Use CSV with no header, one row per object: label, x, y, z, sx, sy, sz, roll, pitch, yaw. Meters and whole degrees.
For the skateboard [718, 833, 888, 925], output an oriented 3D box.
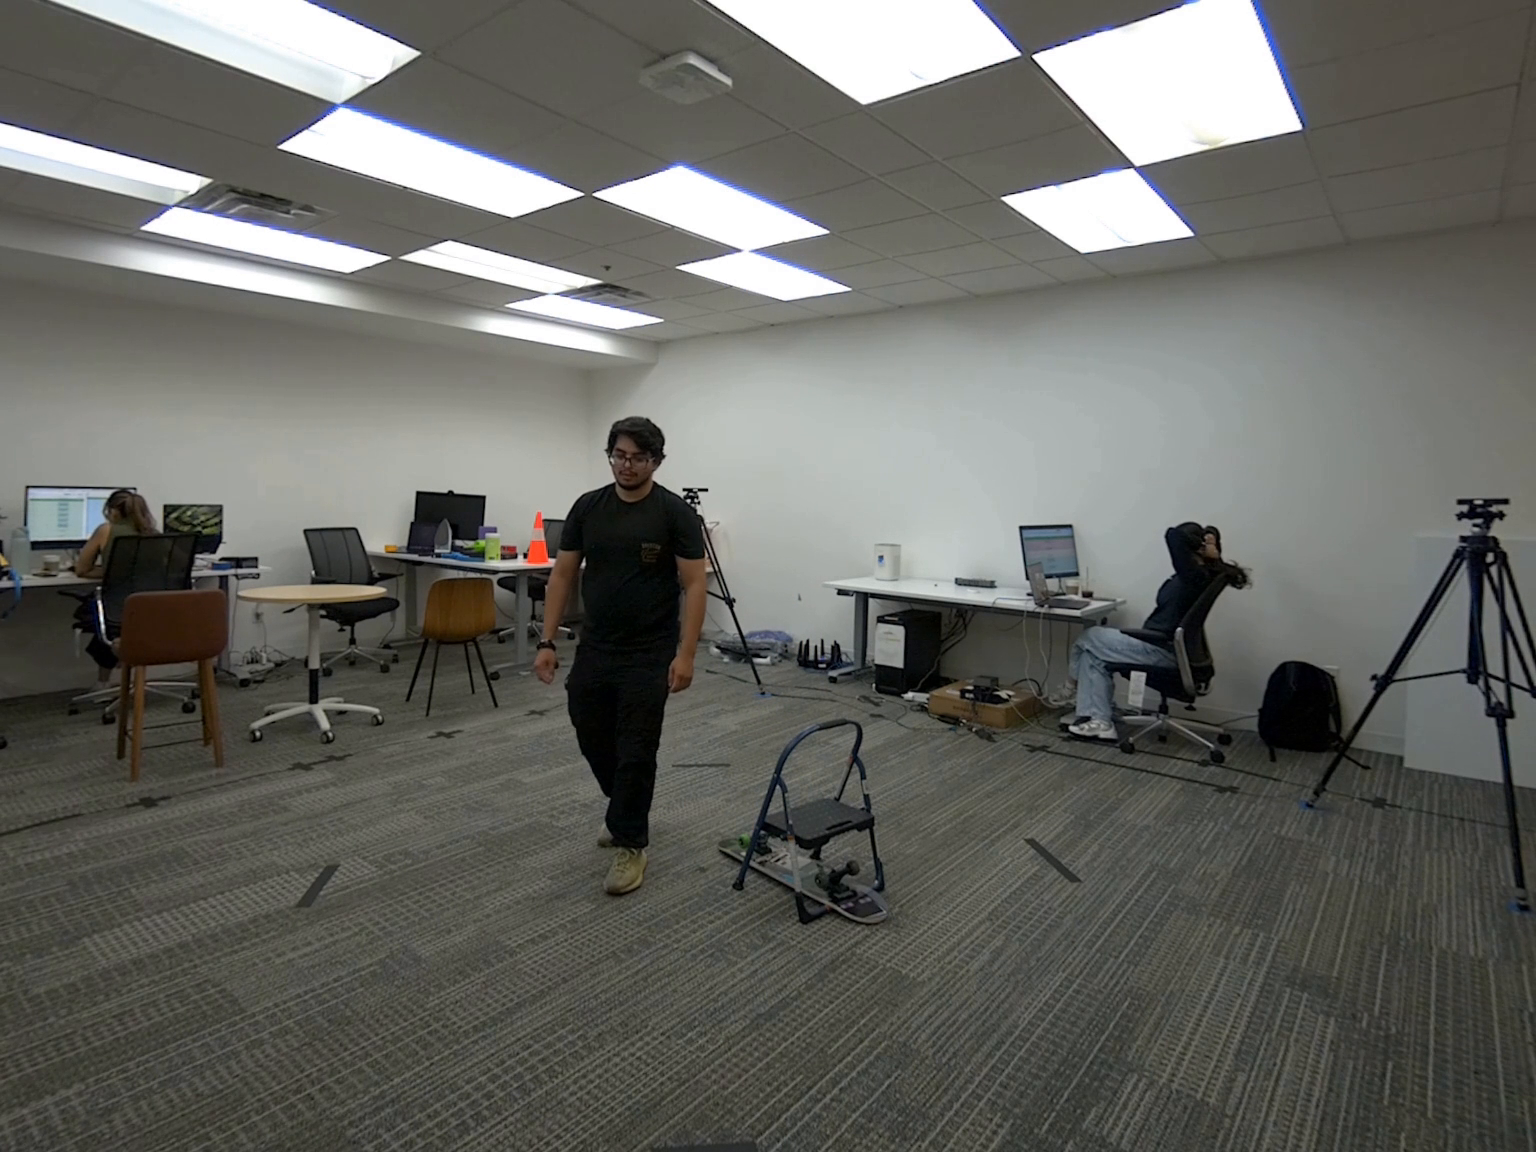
skateboard,0.101,1.033,3.057,0.188,0.110,0.812,-4,7,-43
